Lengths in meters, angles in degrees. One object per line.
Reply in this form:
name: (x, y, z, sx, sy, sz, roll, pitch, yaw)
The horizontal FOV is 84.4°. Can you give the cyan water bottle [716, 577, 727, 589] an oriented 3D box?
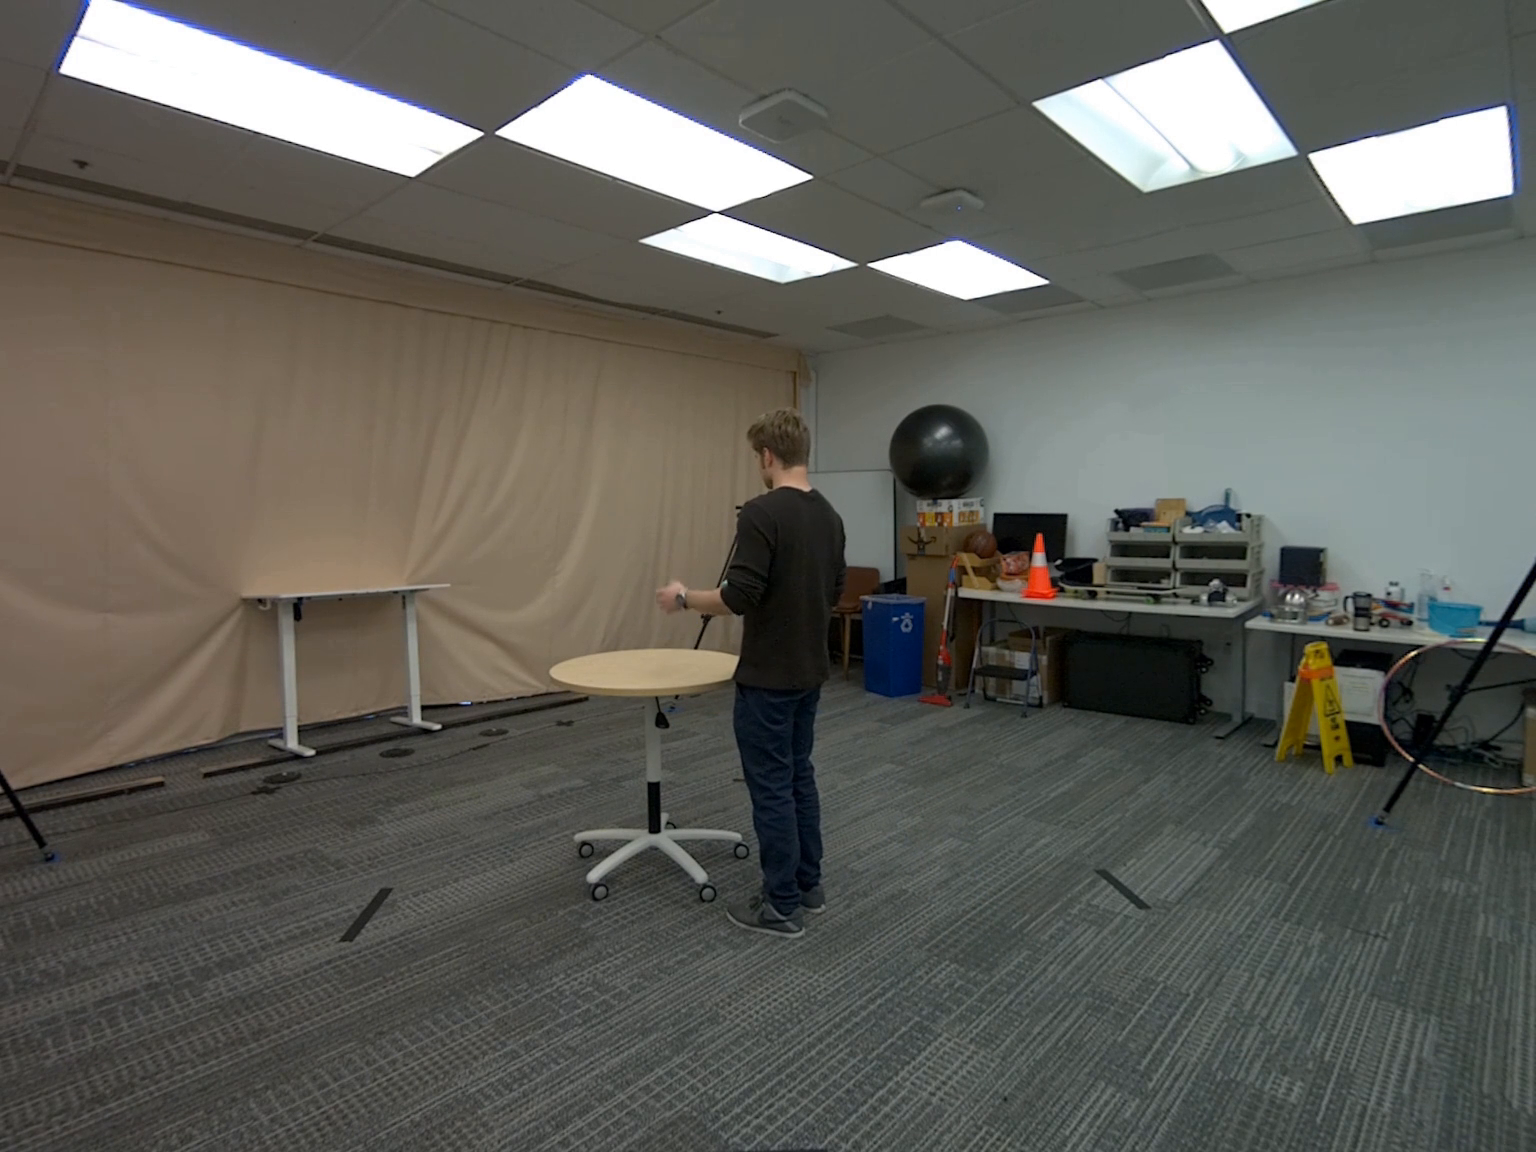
cyan water bottle: (-0.073, -0.004, 3.156, 0.095, 0.091, 0.280, 2, 28, 33)
